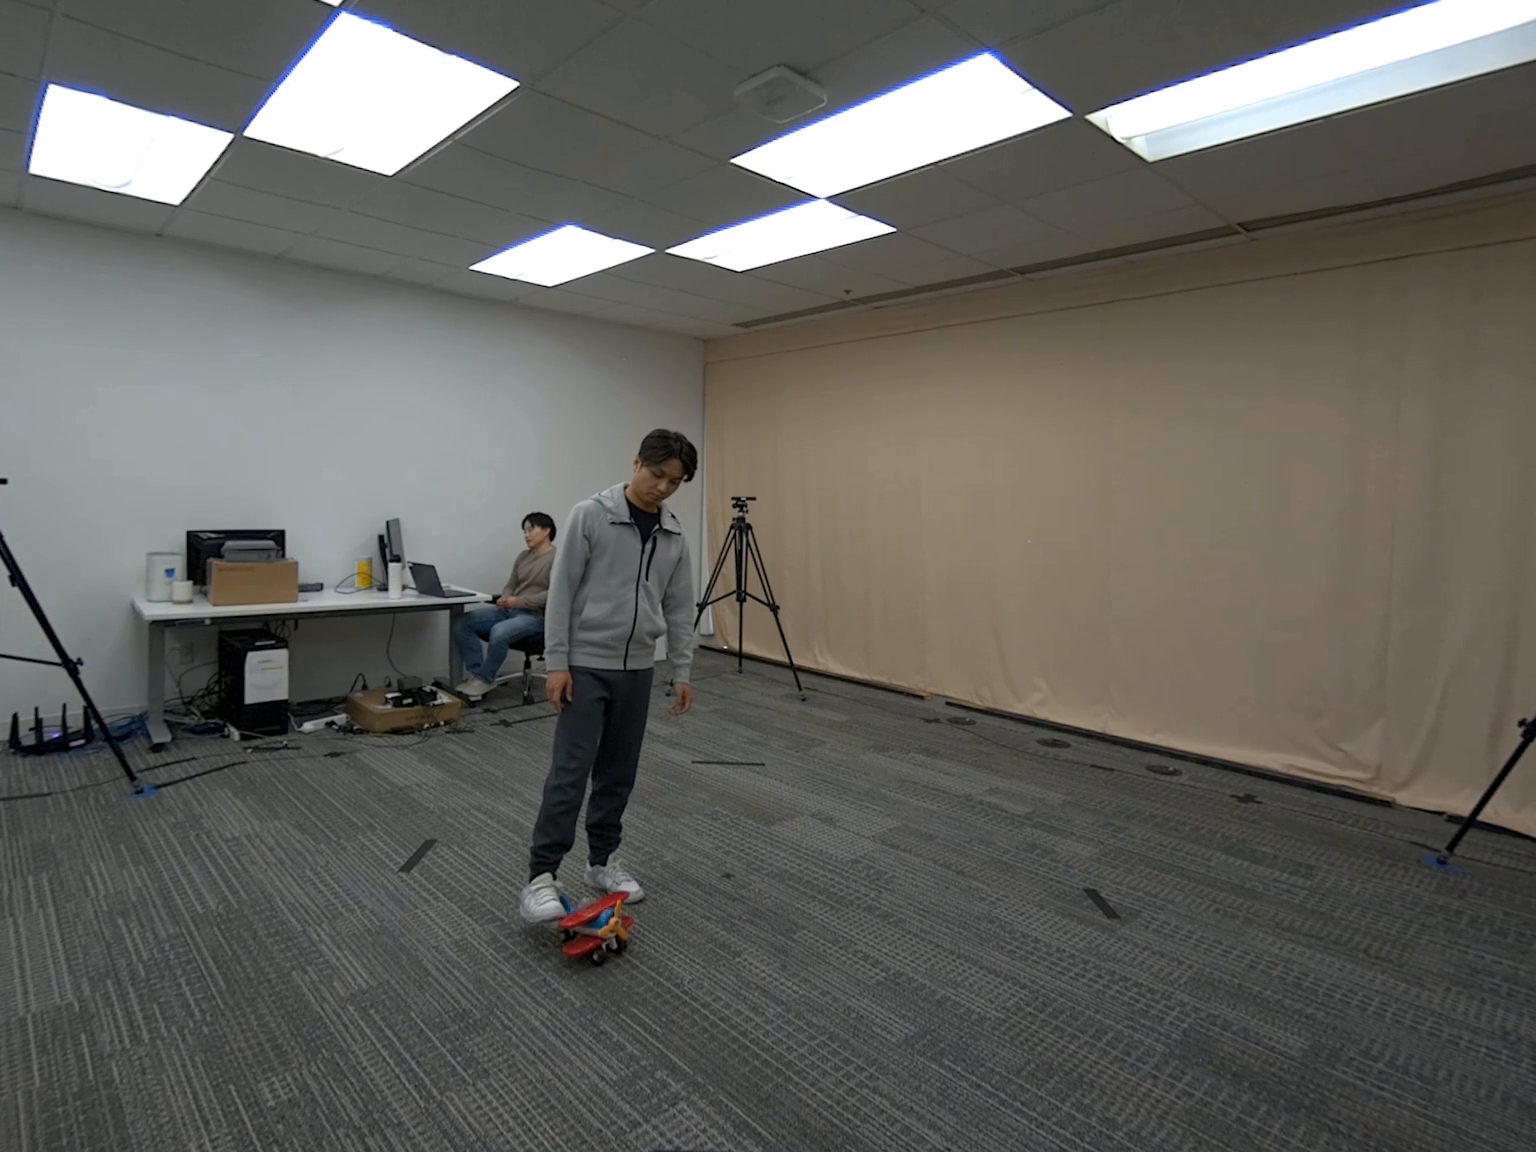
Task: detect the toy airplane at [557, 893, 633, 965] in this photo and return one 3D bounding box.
[{"bbox_3d":[-0.563,1.075,2.552,0.261,0.156,0.250,1,5,8],"label":"toy airplane"}]
